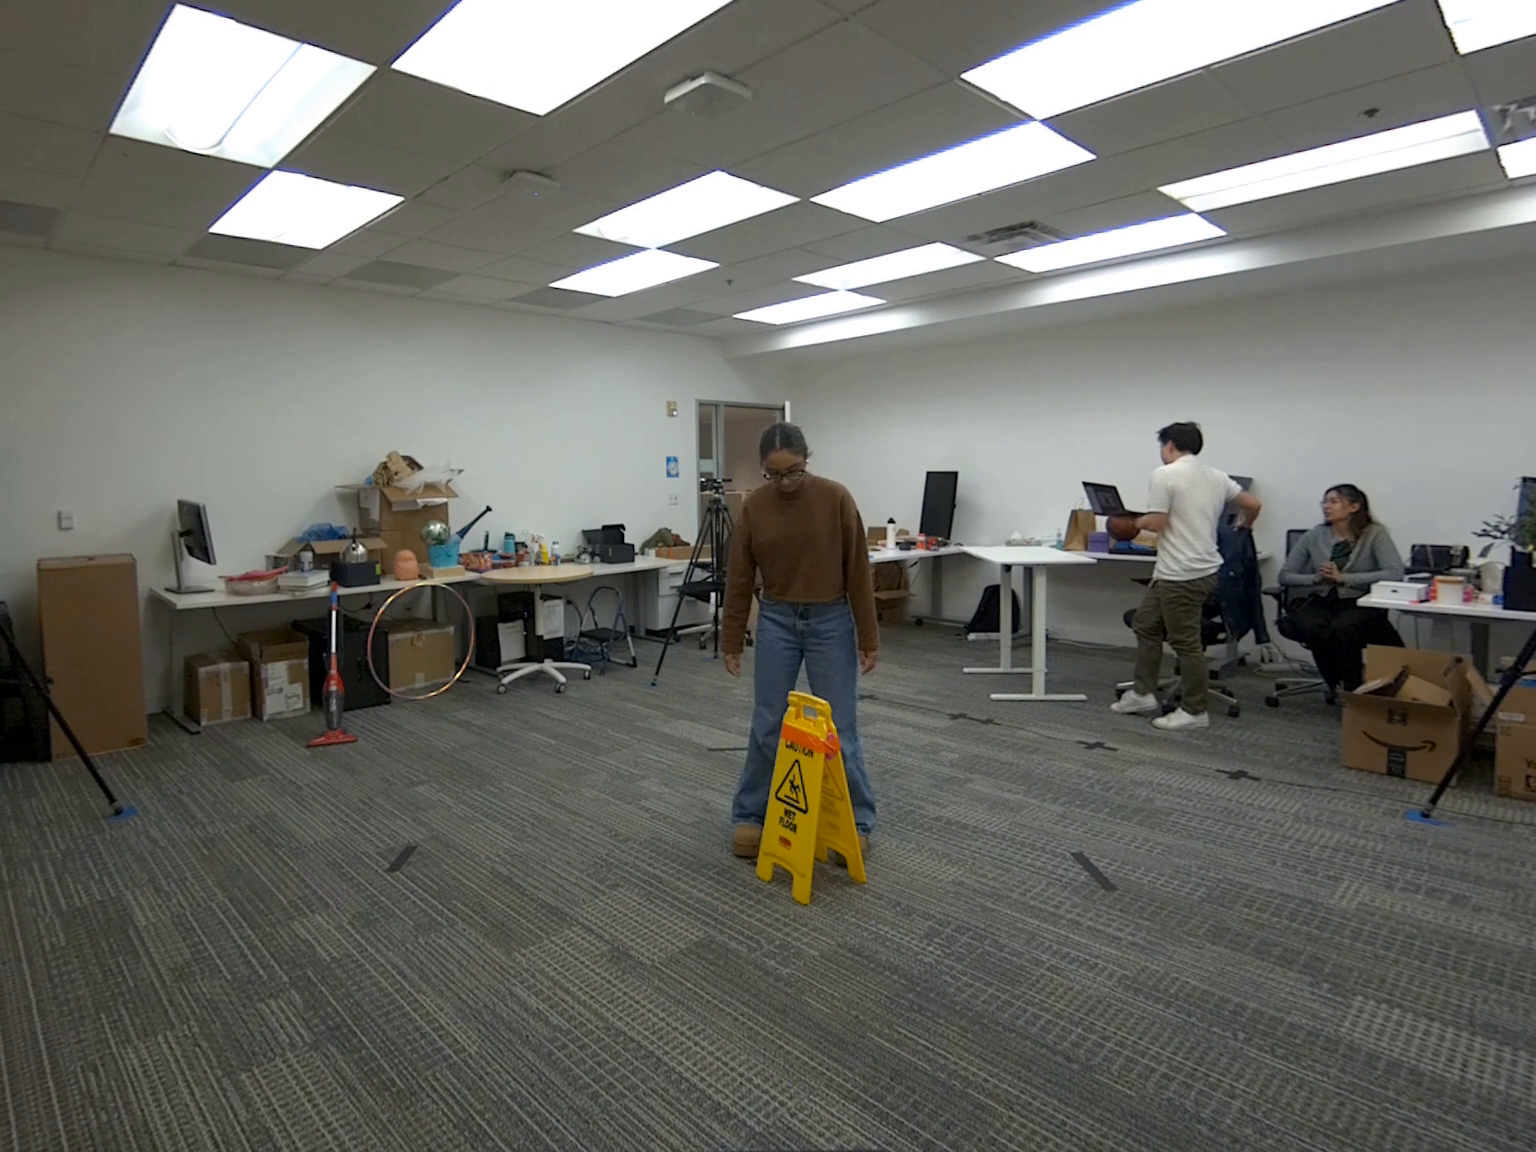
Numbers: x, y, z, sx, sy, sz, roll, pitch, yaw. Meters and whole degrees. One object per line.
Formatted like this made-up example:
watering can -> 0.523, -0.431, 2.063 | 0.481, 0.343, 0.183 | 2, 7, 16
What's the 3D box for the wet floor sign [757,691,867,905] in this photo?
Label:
wet floor sign -> 0.143, 0.735, 2.955 | 0.282, 0.644, 0.290 | -4, 5, -35
